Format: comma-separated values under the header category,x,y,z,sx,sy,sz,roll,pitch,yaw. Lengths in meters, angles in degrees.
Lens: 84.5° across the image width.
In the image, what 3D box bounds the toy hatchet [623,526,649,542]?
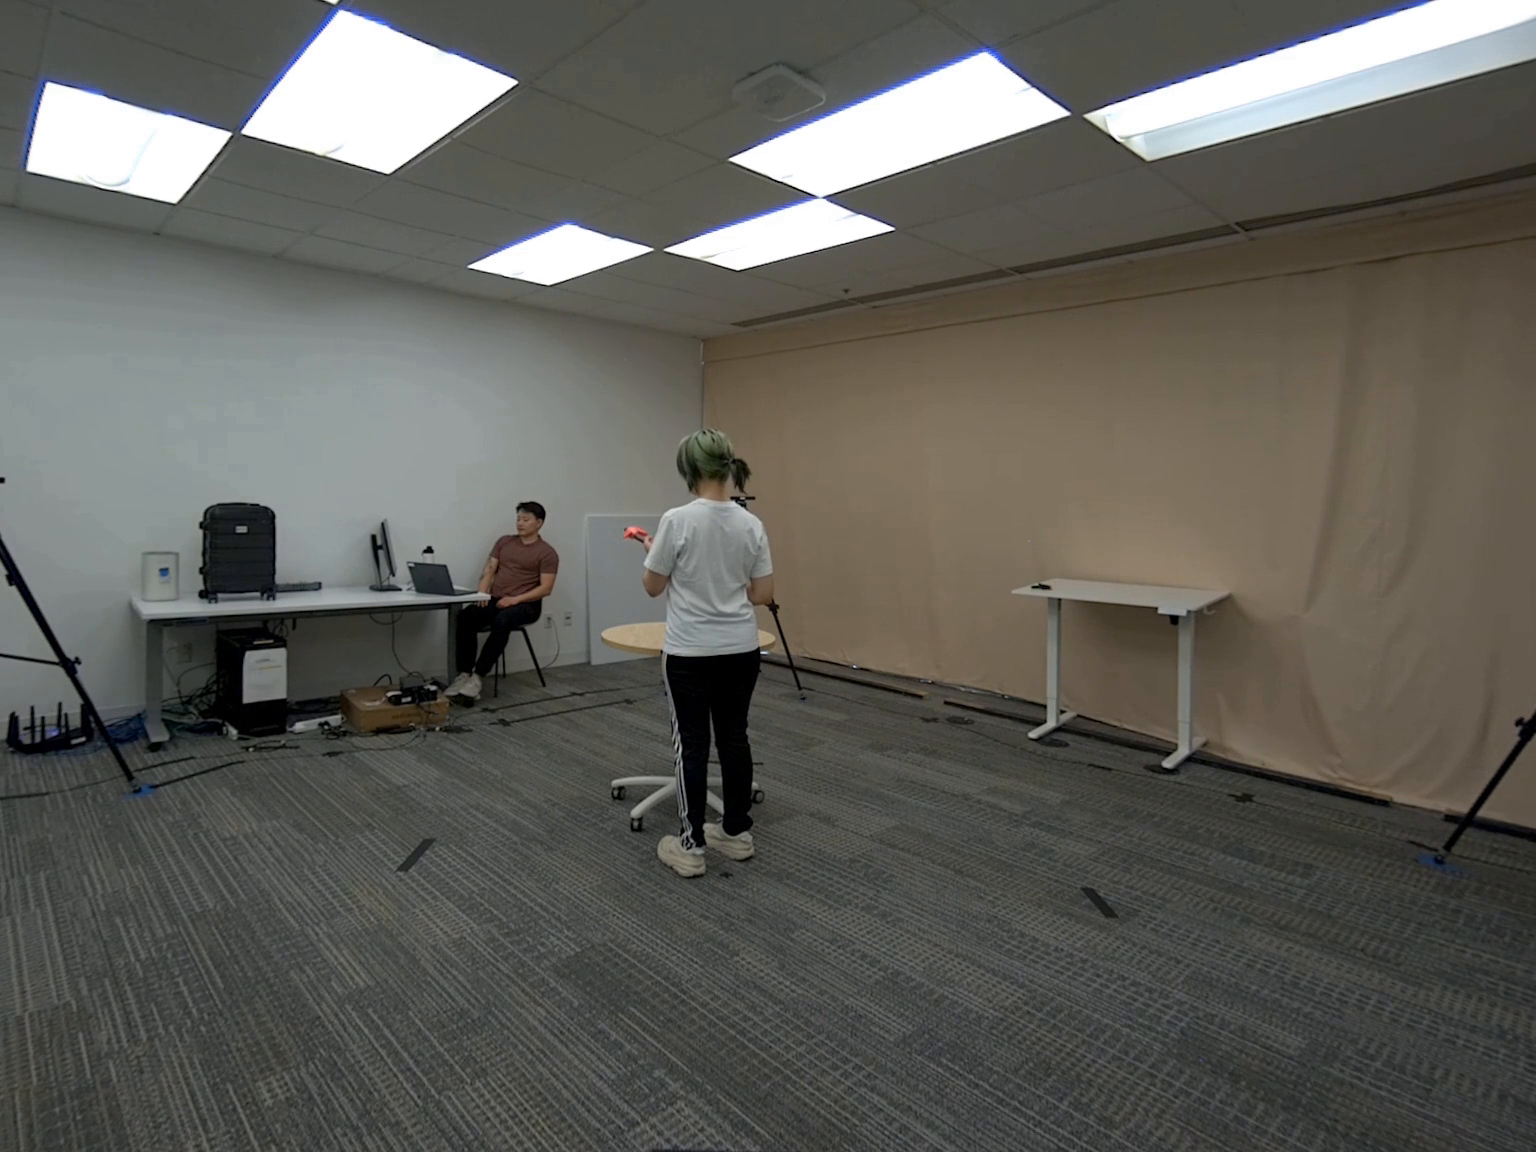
category,x,y,z,sx,sy,sz,roll,pitch,yaw
toy hatchet,-0.468,-0.138,3.439,0.268,0.029,0.133,21,27,-8
